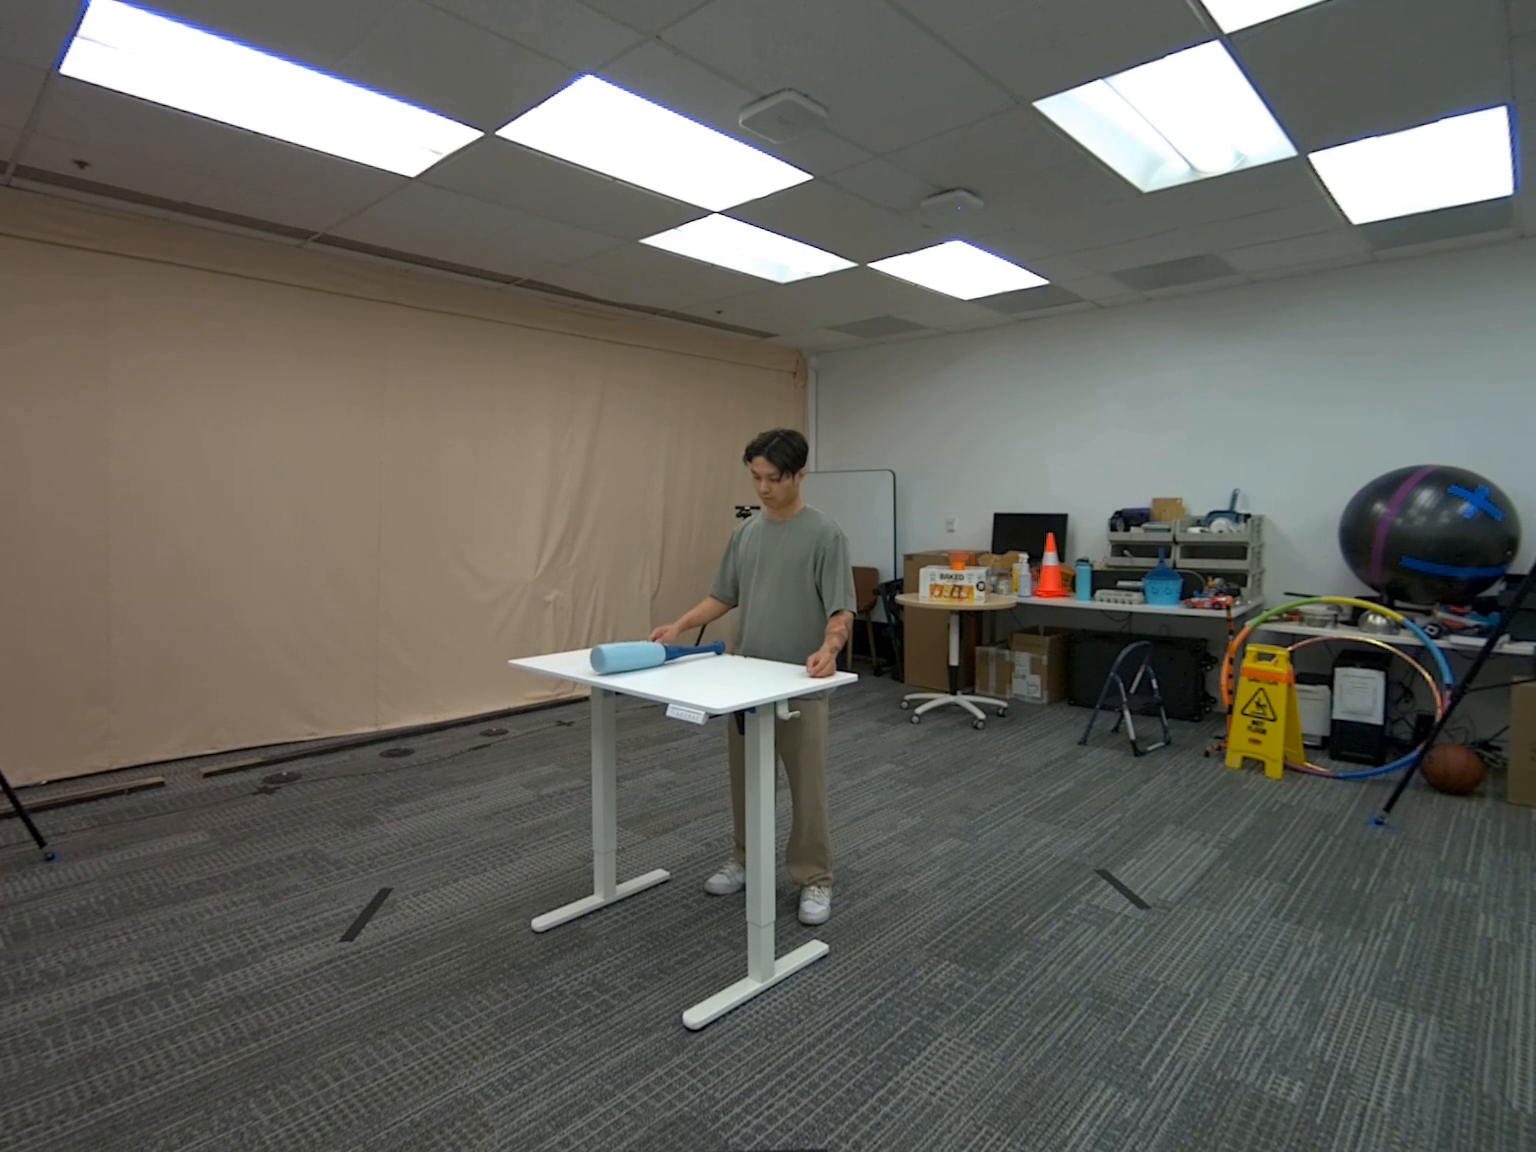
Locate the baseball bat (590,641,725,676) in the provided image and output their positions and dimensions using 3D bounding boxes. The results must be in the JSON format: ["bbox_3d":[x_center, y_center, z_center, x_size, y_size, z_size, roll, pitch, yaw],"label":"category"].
[{"bbox_3d":[-0.342,0.254,2.722,0.092,0.089,0.525,3,2,42],"label":"baseball bat"}]
